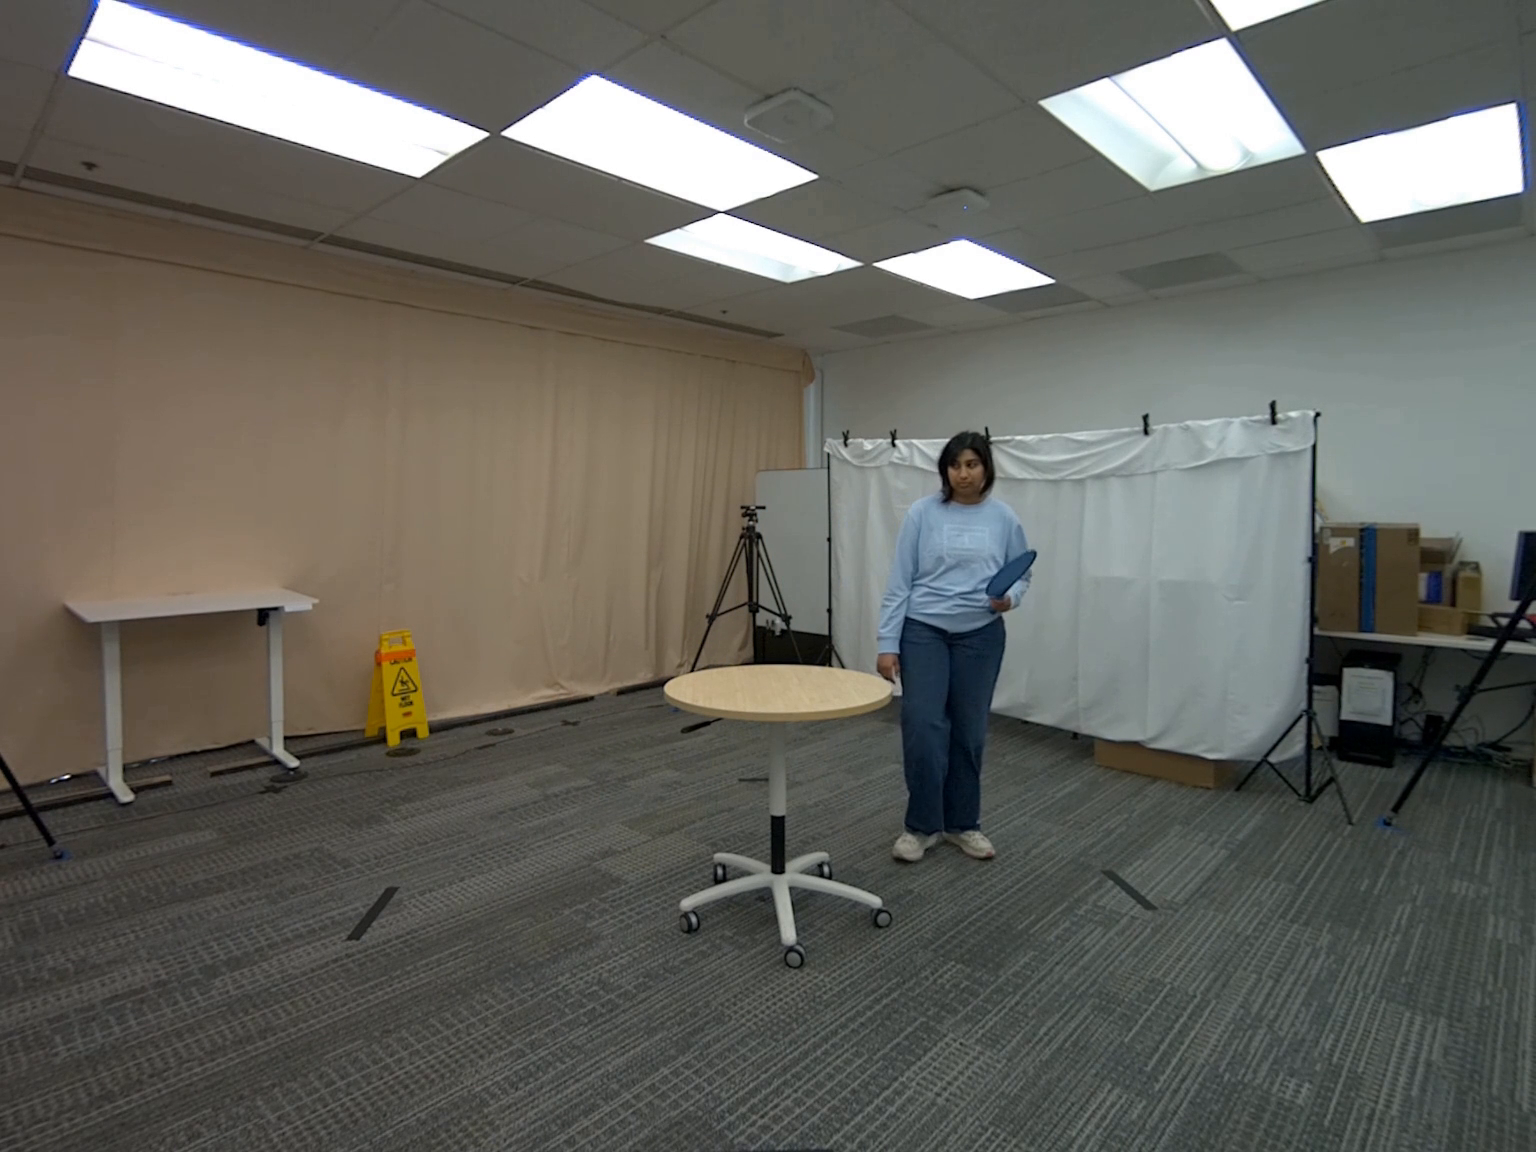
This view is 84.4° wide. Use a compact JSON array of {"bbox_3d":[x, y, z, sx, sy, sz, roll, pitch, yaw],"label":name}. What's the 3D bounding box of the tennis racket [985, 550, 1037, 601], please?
[{"bbox_3d":[0.839,0.039,3.040,0.212,0.032,0.424,-32,-24,-13],"label":"tennis racket"}]
